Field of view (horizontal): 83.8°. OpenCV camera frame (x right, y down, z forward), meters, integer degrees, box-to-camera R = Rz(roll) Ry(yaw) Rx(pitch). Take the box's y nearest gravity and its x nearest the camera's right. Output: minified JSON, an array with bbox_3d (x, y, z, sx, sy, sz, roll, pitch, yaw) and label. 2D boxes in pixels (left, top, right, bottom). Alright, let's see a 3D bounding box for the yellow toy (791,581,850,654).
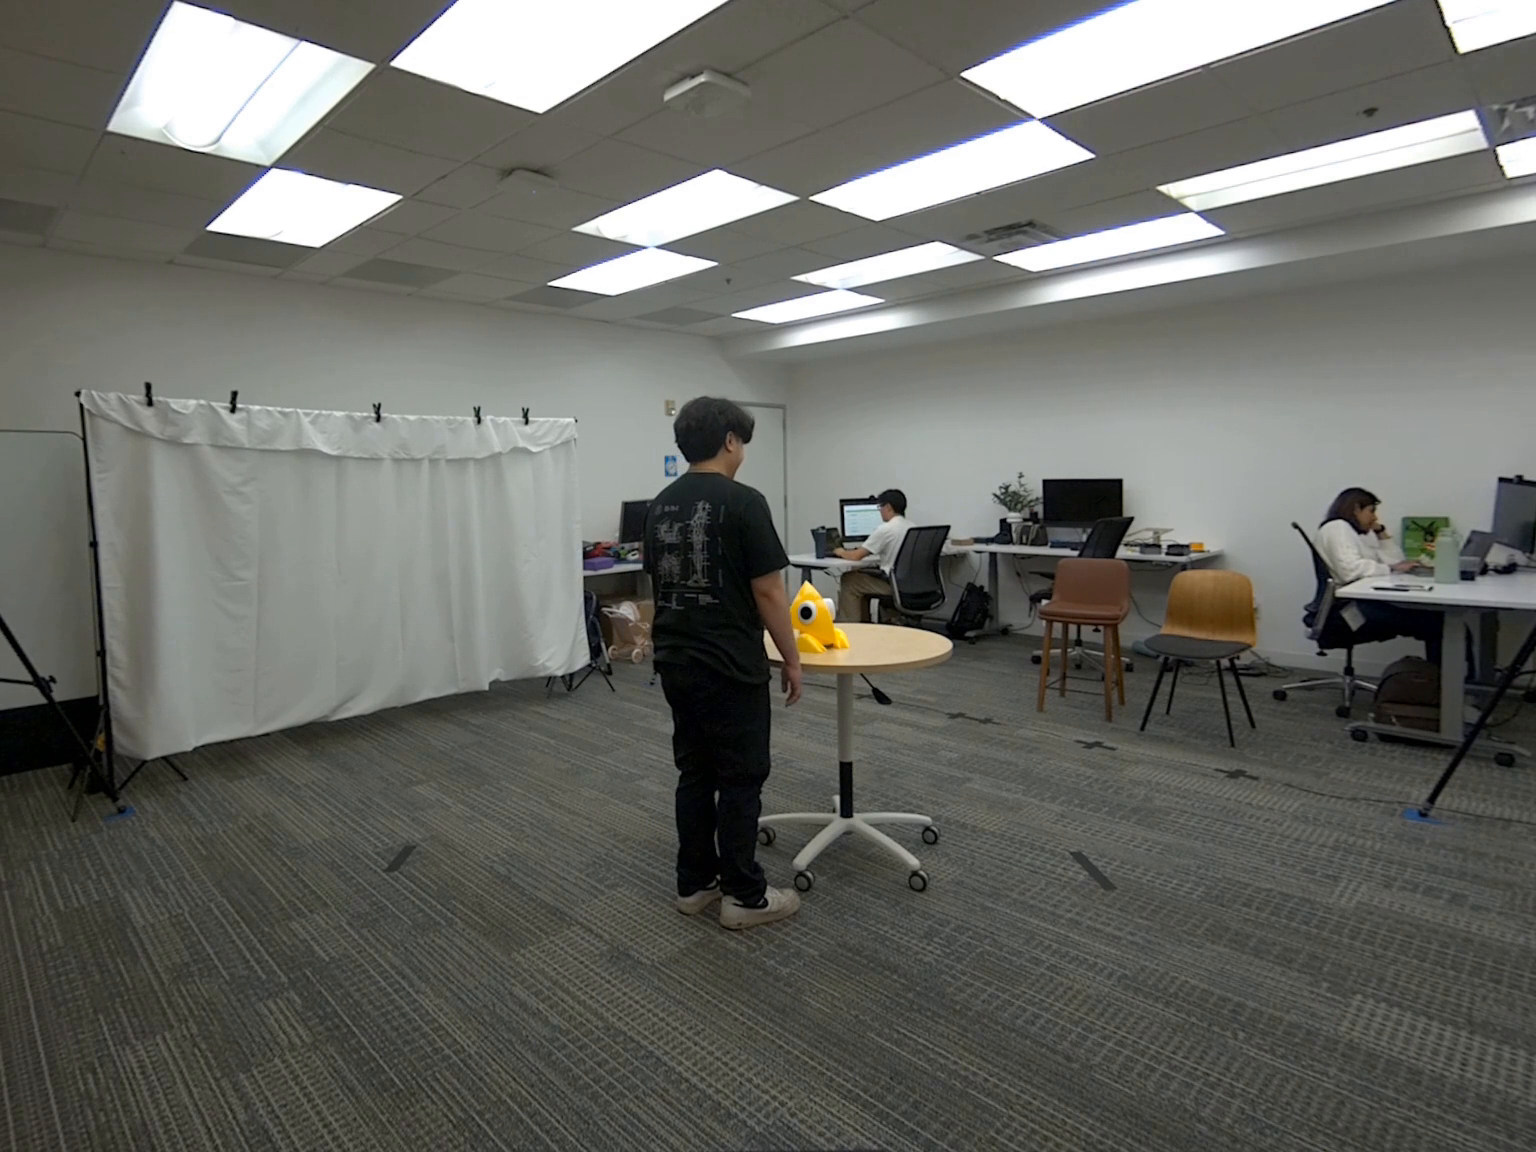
[{"bbox_3d":[0.181,0.138,3.047,0.199,0.230,0.199,-4,7,-36],"label":"yellow toy"}]
